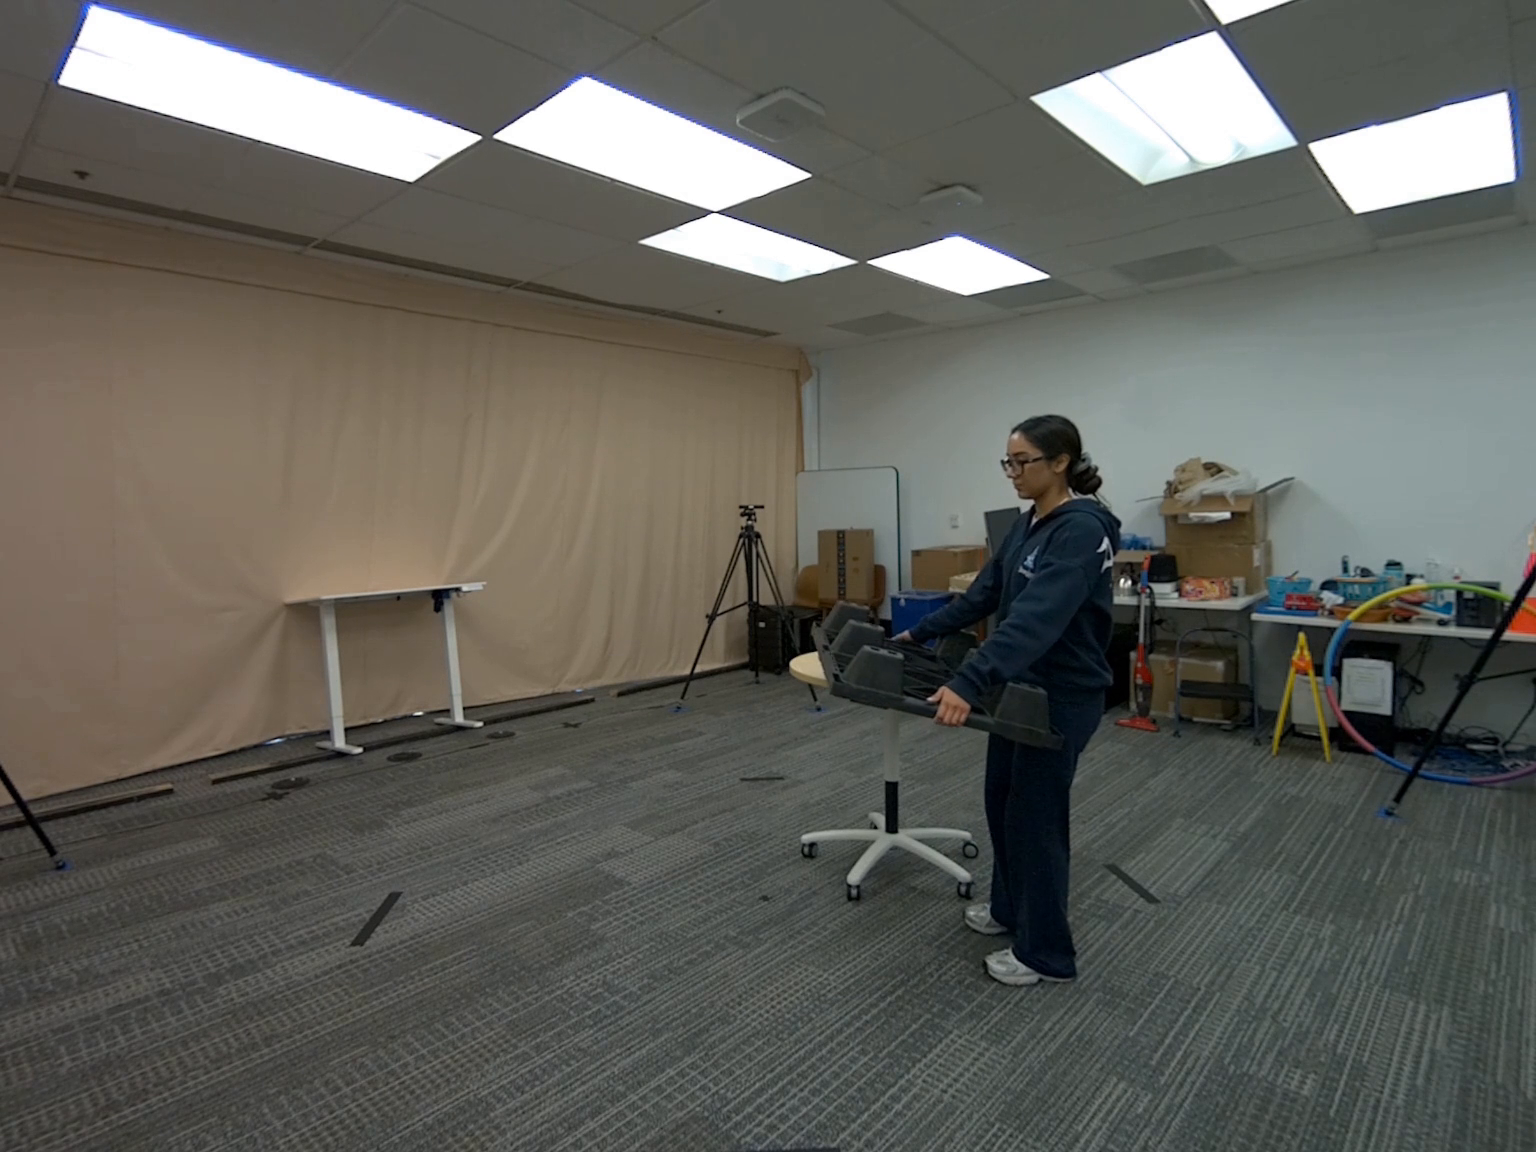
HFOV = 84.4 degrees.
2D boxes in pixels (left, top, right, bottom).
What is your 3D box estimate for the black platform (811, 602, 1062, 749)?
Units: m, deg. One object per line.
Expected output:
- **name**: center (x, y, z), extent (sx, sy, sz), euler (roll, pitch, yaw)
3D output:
- **black platform**: center (0.461, 0.257, 2.505), extent (0.605, 0.143, 0.807), euler (15, 7, -1)
